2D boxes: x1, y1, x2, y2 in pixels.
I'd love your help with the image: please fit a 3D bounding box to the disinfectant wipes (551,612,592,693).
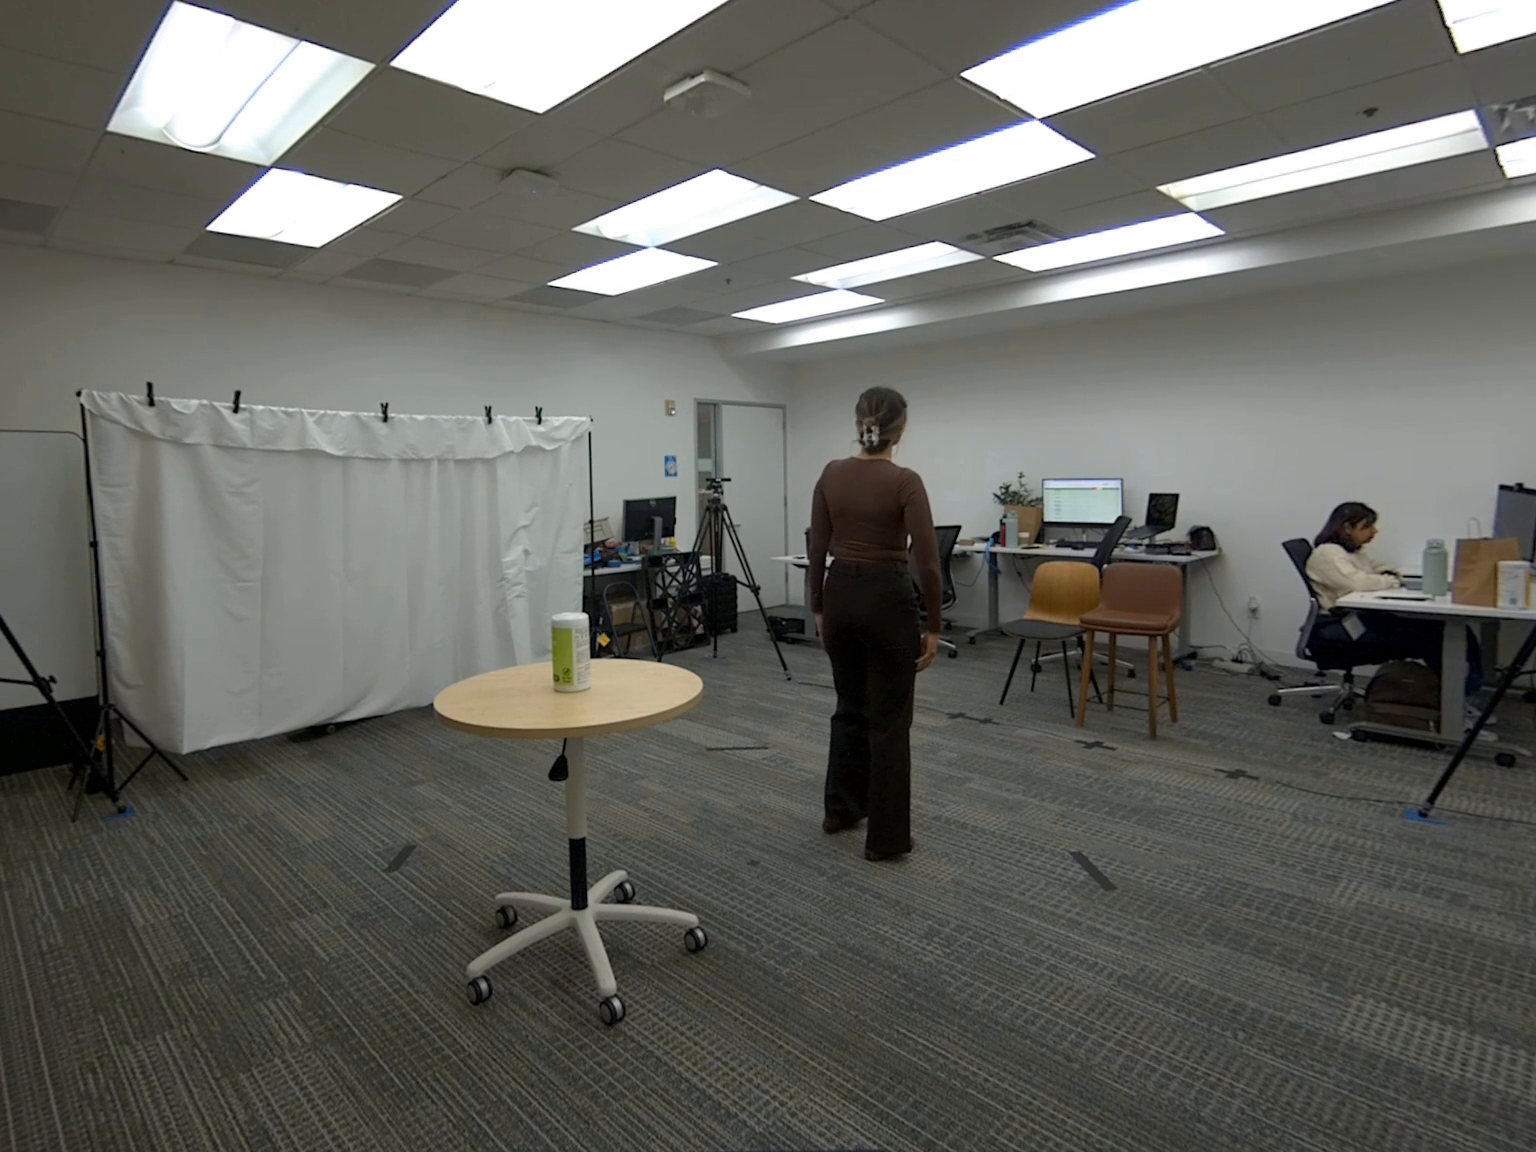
[{"bbox_3d":[-0.573,0.224,2.482,0.118,0.216,0.118,-1,5,-2],"label":"disinfectant wipes"}]
